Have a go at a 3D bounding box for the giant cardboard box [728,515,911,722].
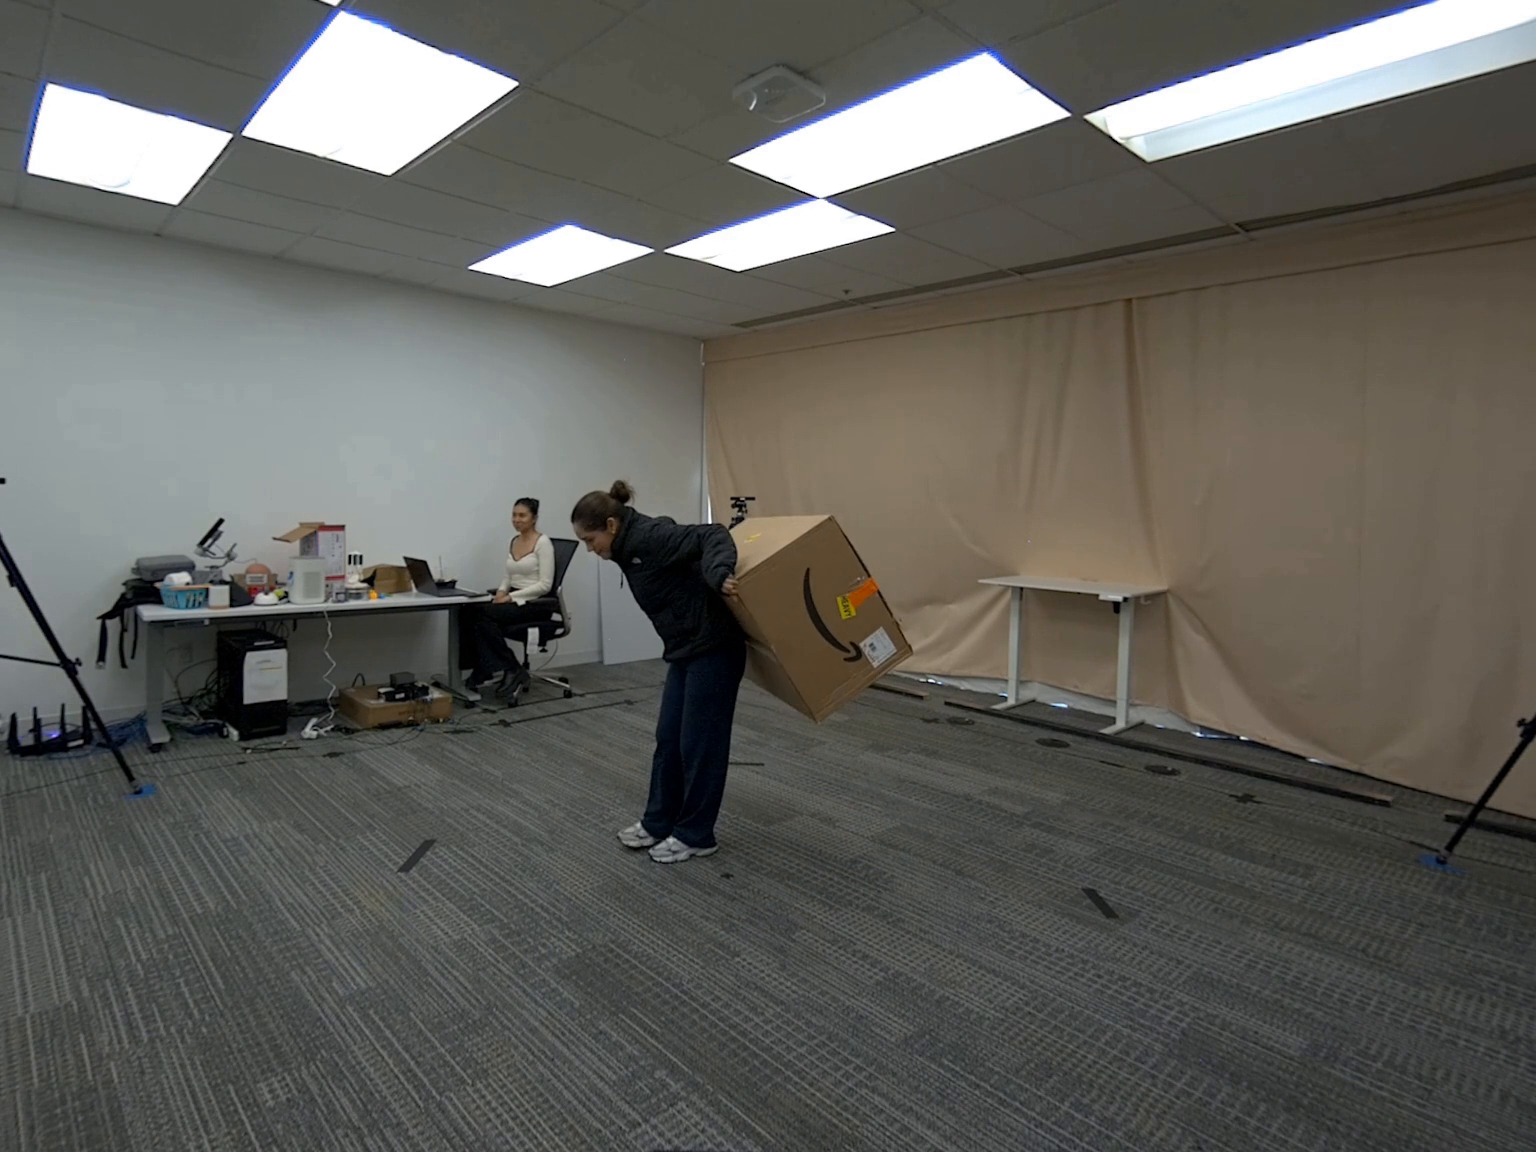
[{"bbox_3d":[0.043,0.121,3.310,0.425,0.571,1.040,-34,11,-13],"label":"giant cardboard box"}]
